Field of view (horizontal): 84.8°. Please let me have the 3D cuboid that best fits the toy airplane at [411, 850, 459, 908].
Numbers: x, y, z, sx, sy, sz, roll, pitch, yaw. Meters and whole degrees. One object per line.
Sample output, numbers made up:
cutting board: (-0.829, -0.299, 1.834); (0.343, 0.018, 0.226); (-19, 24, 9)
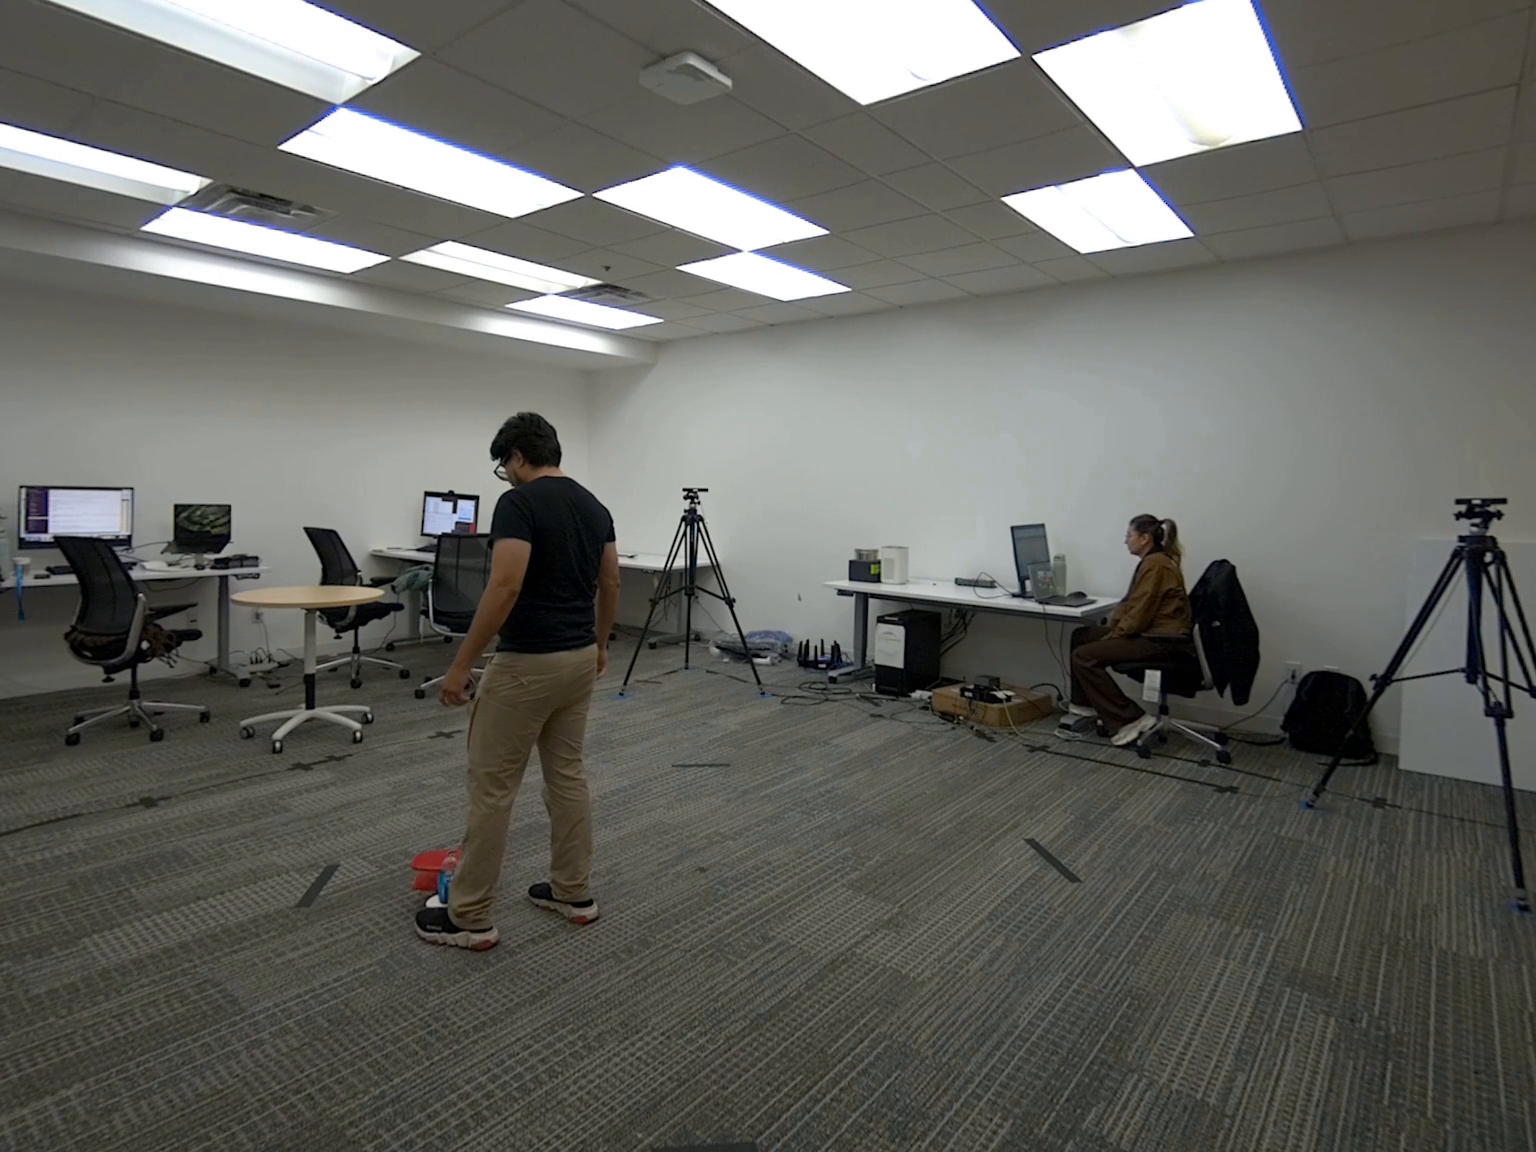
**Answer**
toy airplane: (-1.051, 1.015, 2.817); (0.244, 0.156, 0.268); (-4, 6, -40)
